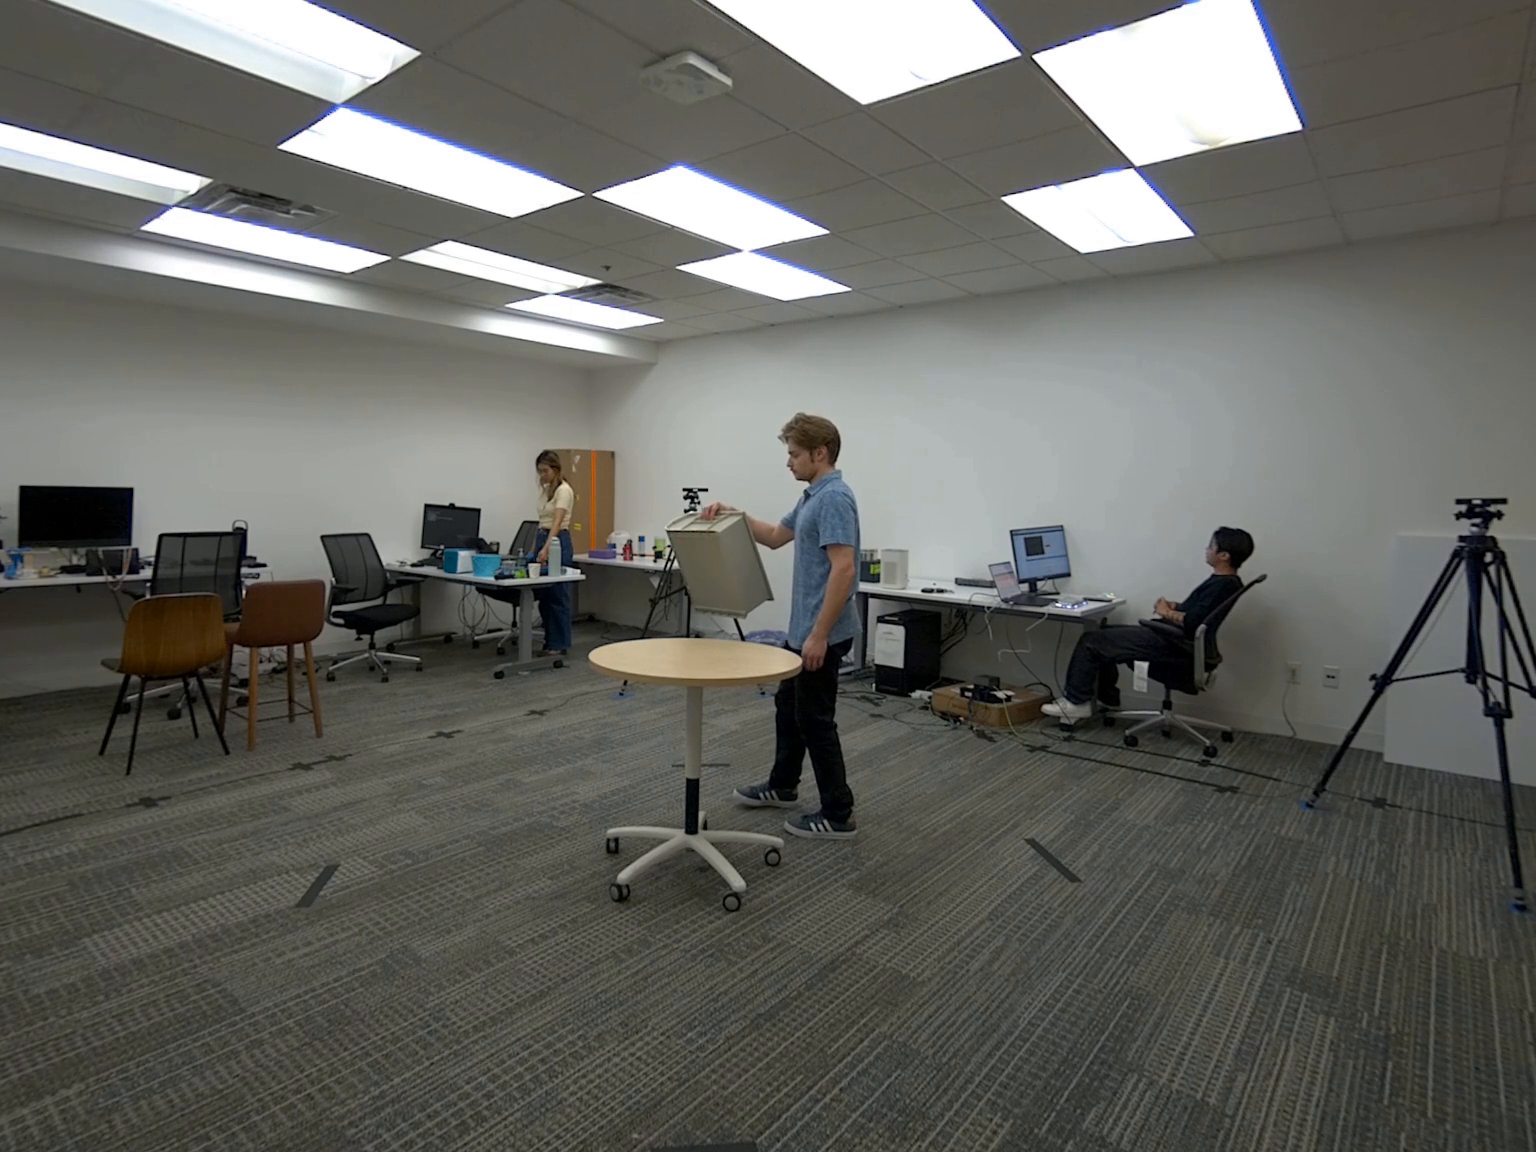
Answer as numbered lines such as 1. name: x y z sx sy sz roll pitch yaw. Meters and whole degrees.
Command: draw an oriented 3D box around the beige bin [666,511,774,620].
1. beige bin: -0.238 -0.056 3.687 0.390 0.413 0.187 4 27 46
